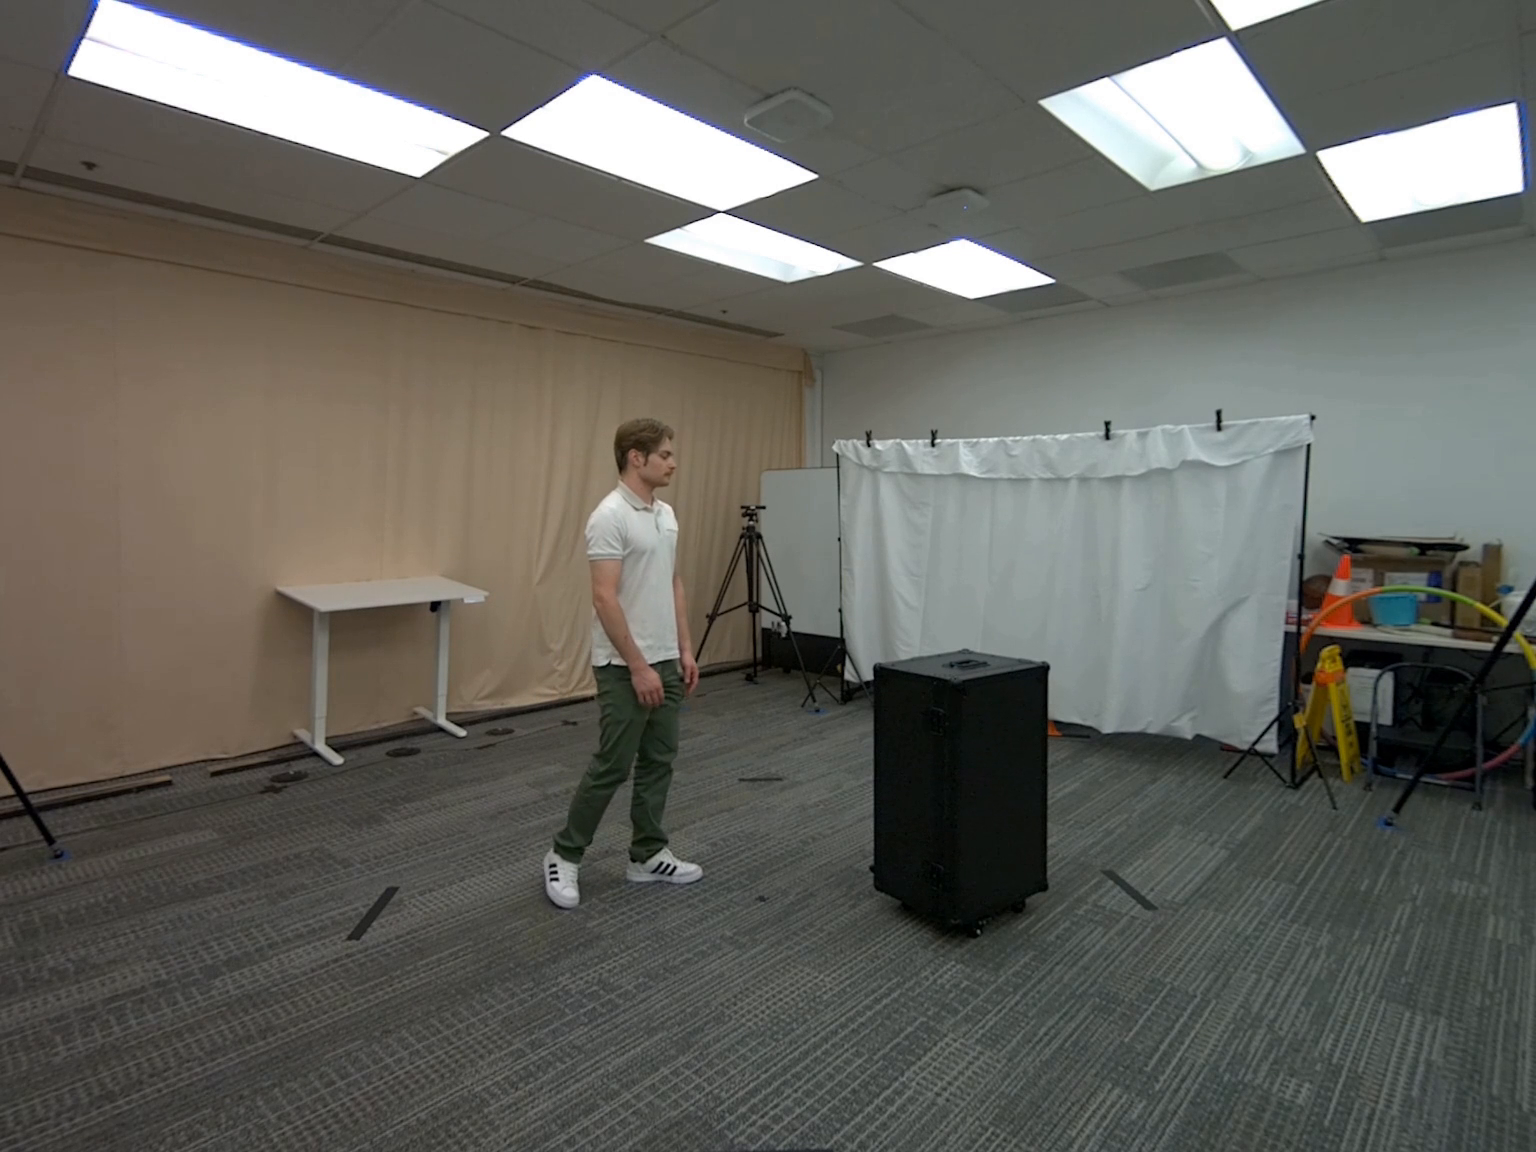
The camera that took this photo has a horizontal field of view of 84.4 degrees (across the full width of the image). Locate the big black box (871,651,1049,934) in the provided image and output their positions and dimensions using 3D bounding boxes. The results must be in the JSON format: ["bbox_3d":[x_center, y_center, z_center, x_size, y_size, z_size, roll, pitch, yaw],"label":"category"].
[{"bbox_3d":[0.661,0.729,2.877,0.508,0.867,0.397,-3,3,-36],"label":"big black box"}]
